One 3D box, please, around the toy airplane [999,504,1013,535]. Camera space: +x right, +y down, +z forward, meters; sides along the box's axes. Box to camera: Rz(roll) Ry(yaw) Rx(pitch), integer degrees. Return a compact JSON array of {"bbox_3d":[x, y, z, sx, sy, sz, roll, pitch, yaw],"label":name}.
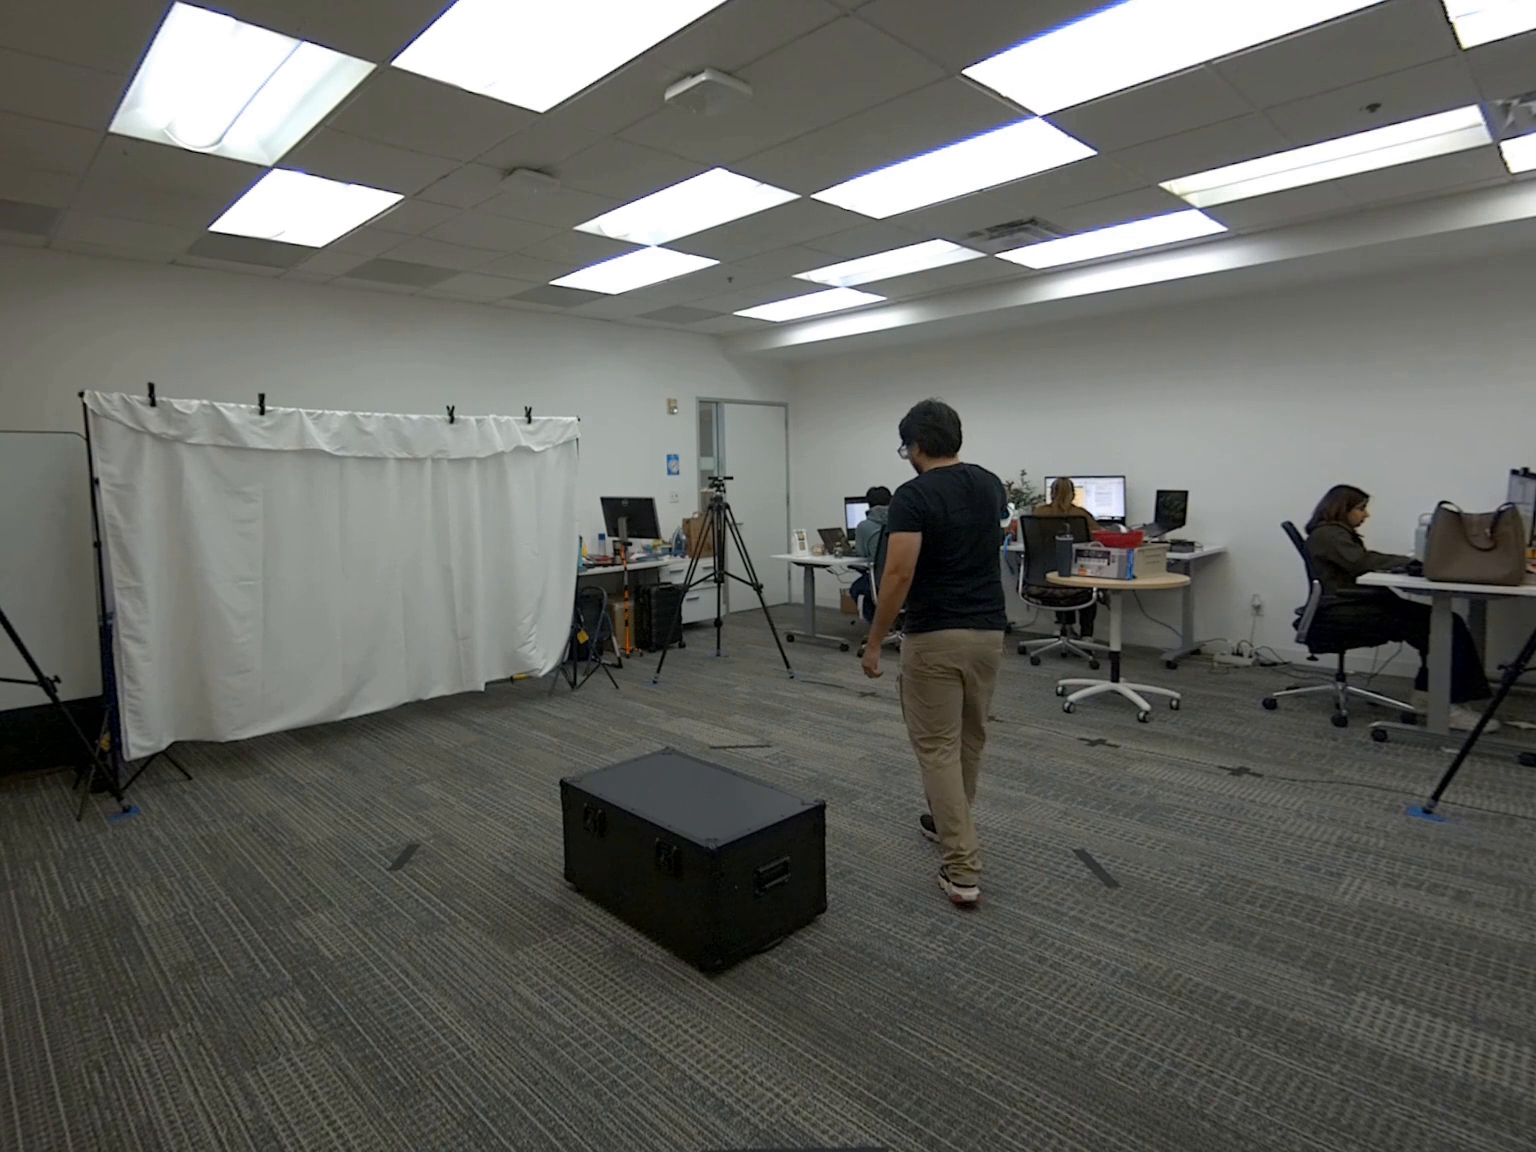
[{"bbox_3d":[0.915,-0.280,3.614,0.261,0.258,0.150,-30,-49,25],"label":"toy airplane"}]
